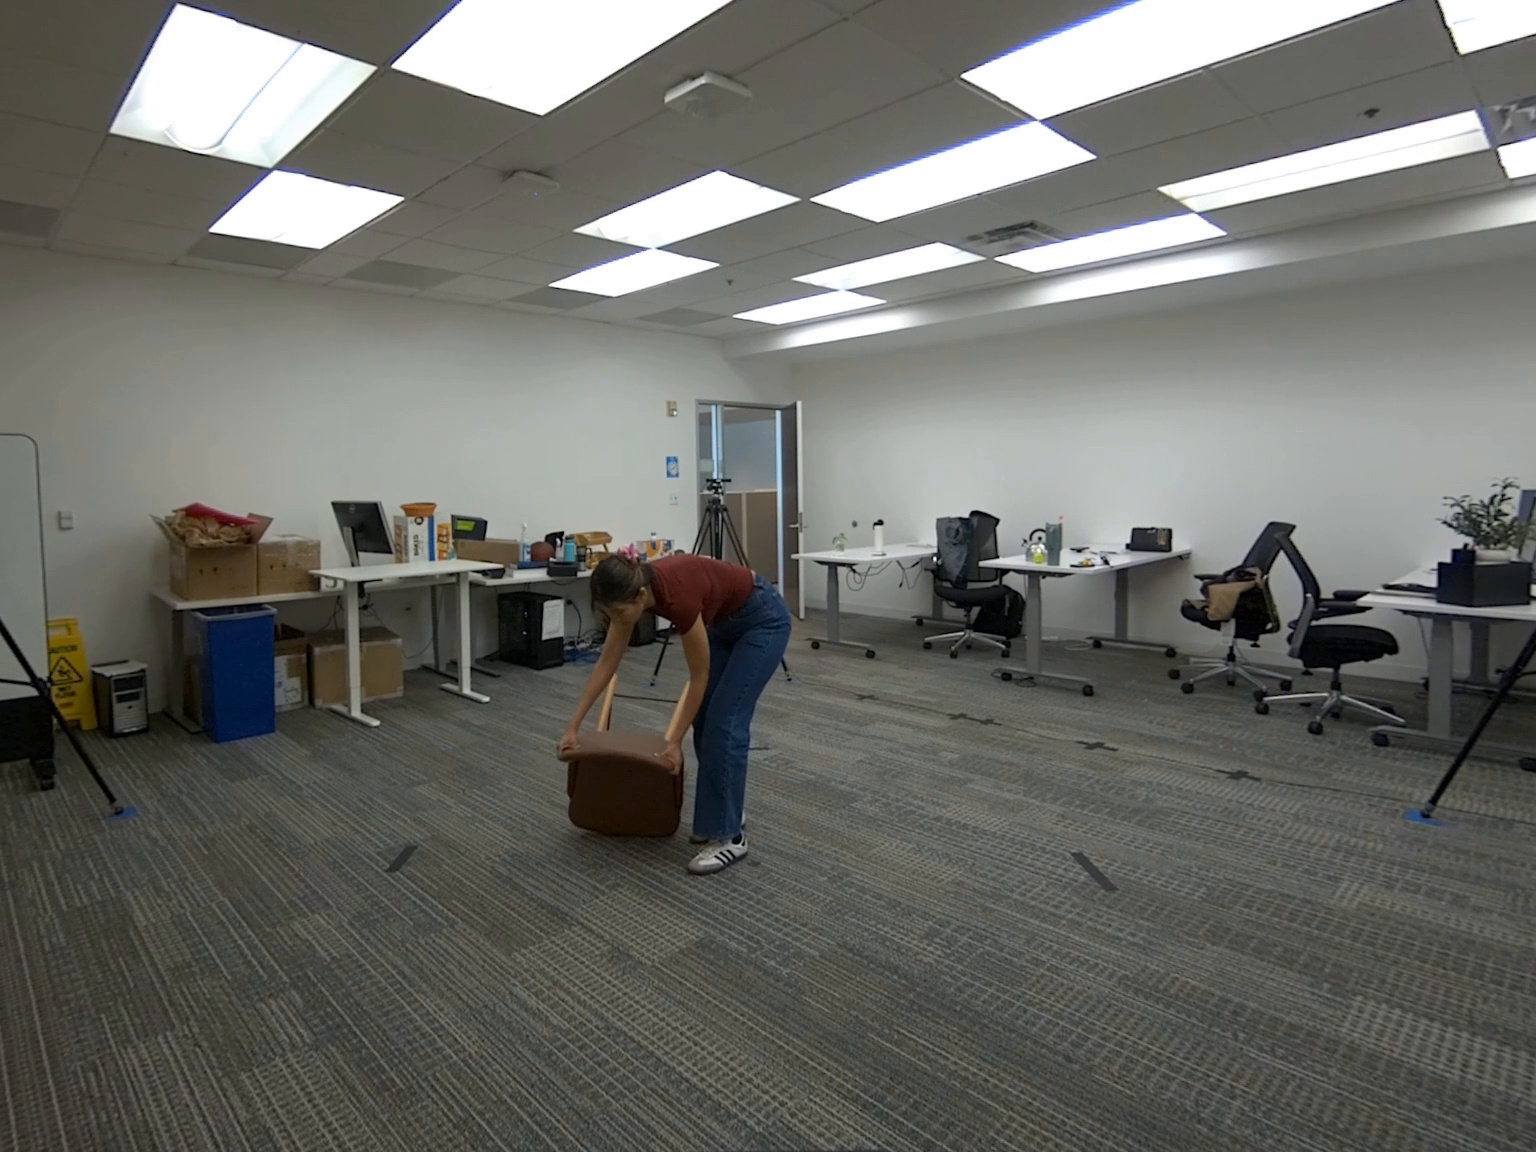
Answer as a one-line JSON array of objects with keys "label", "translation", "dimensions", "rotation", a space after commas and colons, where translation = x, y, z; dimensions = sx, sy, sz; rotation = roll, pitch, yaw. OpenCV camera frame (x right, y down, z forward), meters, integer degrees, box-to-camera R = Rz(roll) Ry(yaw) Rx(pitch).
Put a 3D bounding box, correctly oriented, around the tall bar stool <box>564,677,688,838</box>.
[{"label": "tall bar stool", "translation": [-0.548, 0.765, 3.476], "dimensions": [0.457, 0.464, 0.896], "rotation": [6, 10, -1]}]
